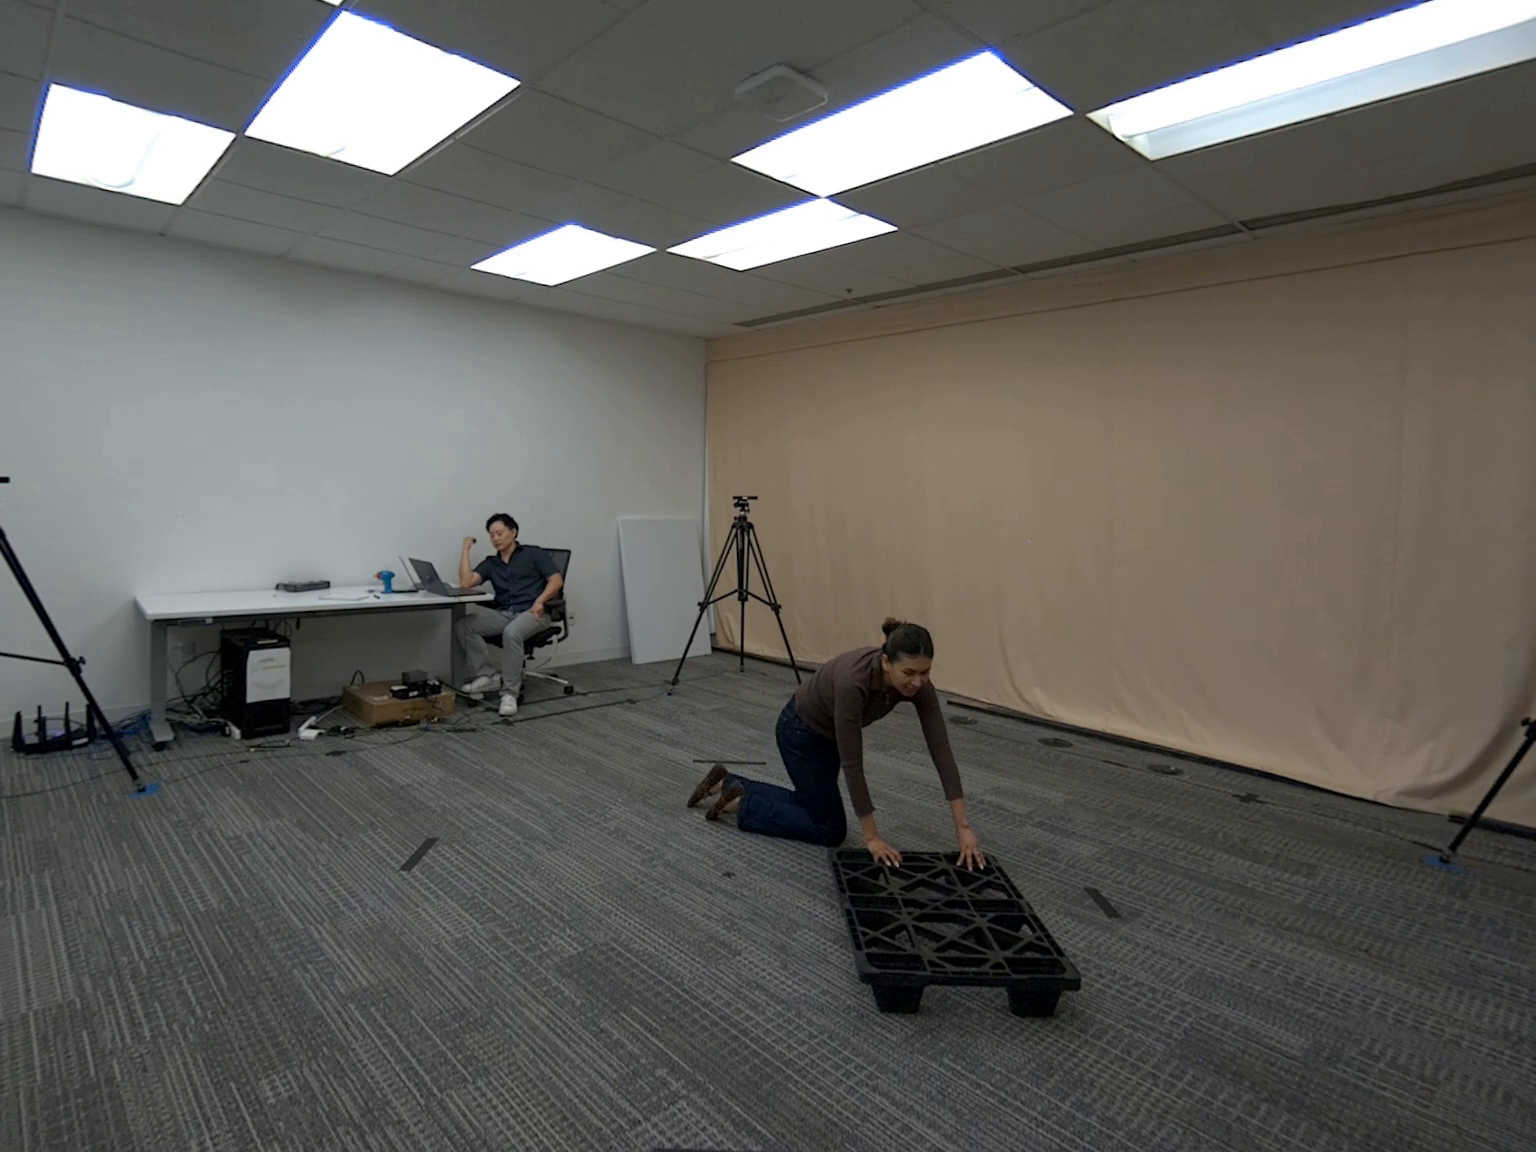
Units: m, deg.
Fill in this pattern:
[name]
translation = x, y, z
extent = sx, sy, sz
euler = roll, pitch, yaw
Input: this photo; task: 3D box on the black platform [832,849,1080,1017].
[black platform]
translation = 0.527, 1.091, 2.655
extent = 0.604, 0.143, 0.809
euler = 3, 6, -2
